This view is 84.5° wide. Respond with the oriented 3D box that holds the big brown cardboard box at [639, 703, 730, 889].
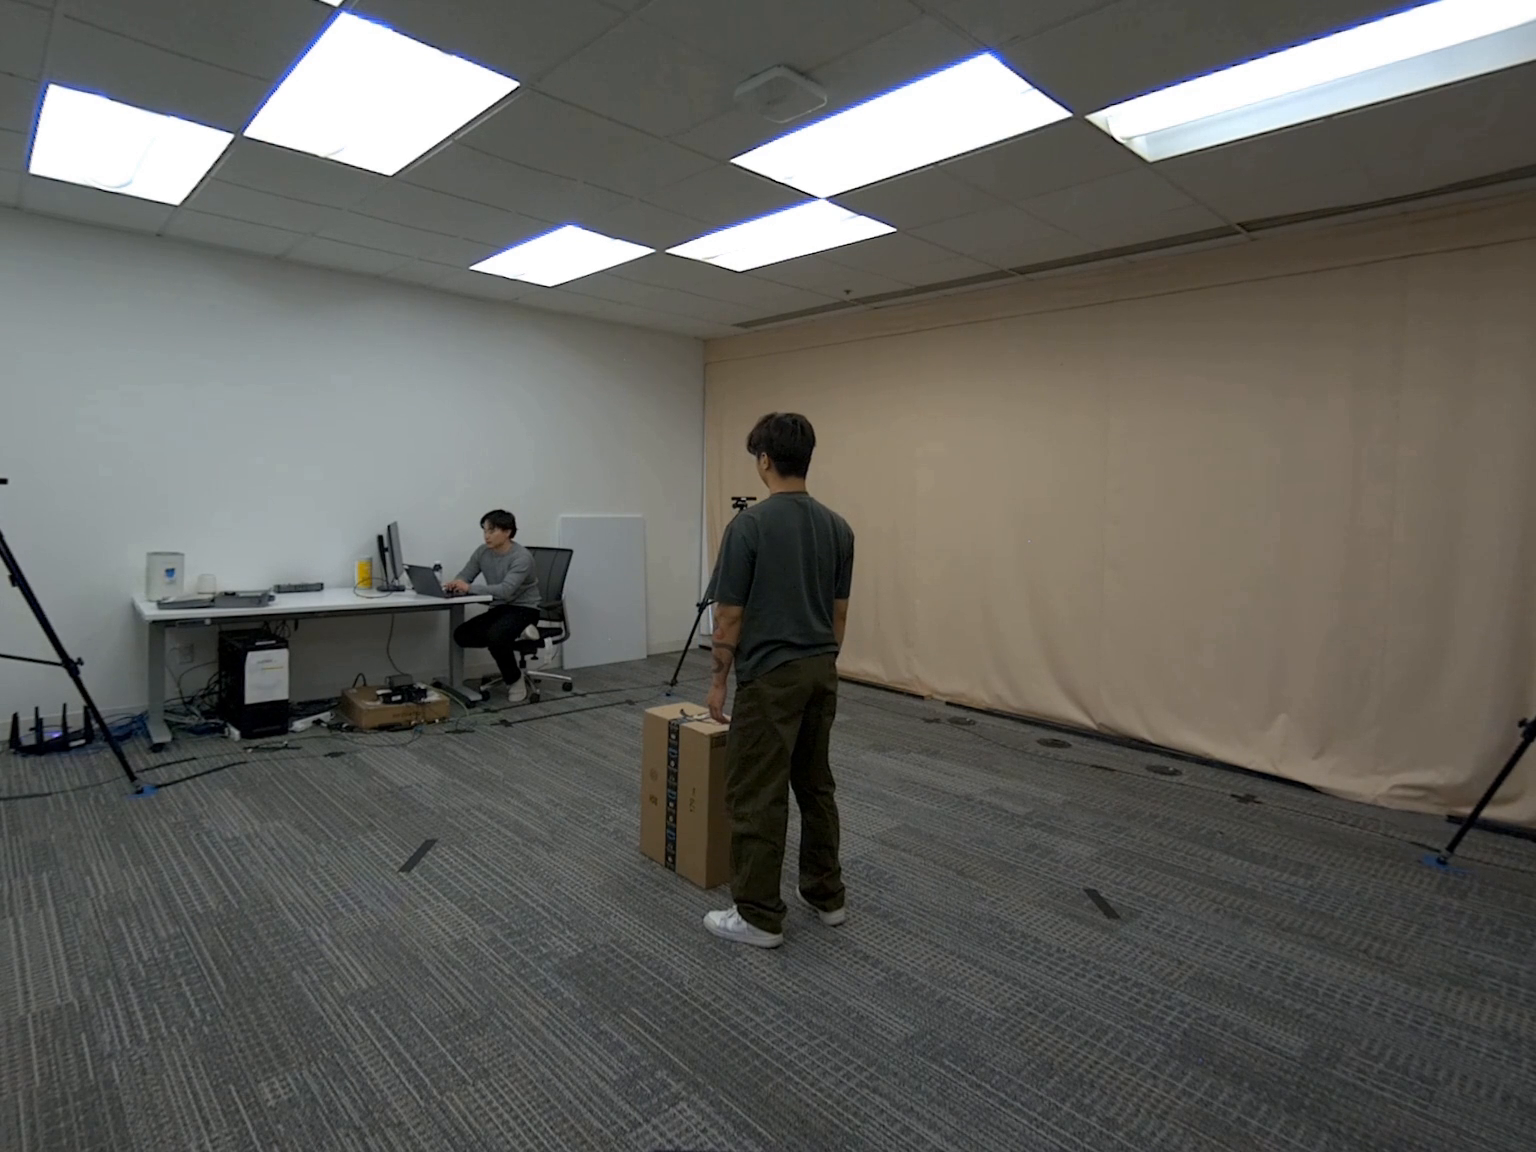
[{"bbox_3d":[-0.282,0.808,3.192,0.228,0.587,0.428,0,5,-42],"label":"big brown cardboard box"}]
